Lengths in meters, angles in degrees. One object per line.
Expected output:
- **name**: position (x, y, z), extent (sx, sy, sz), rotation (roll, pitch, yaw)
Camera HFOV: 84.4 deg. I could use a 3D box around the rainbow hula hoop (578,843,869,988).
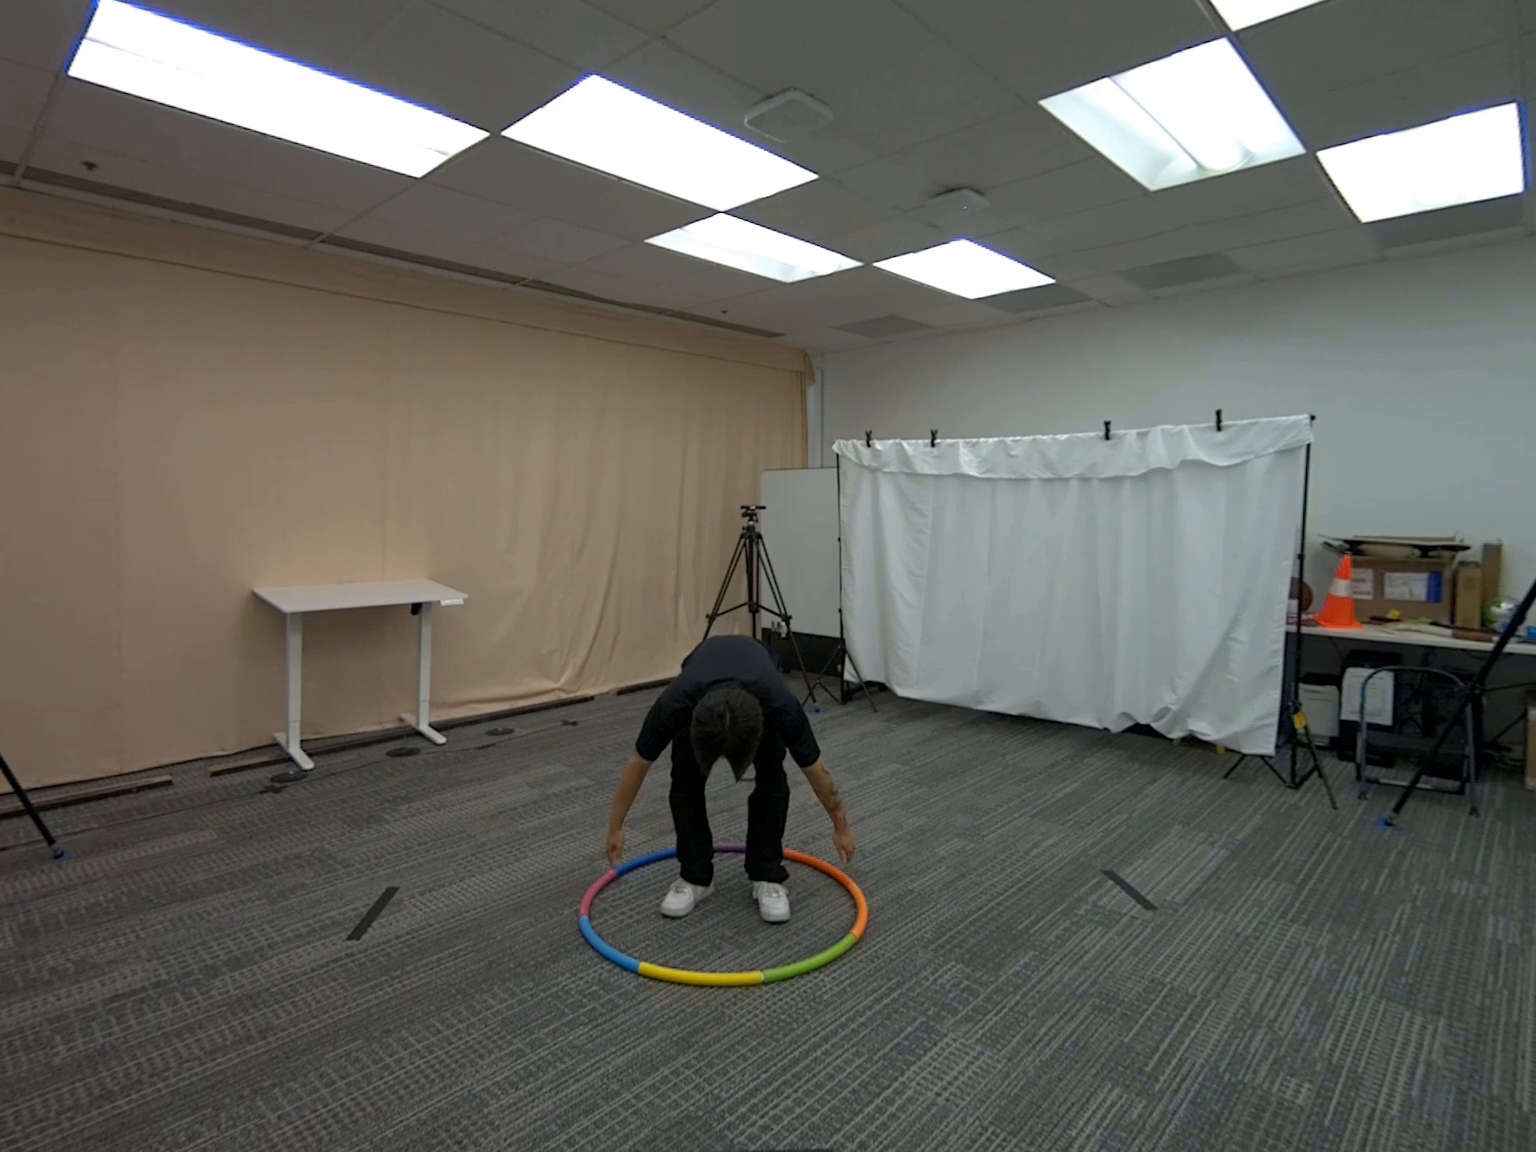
- **rainbow hula hoop**: position (-0.149, 1.120, 2.918), extent (0.978, 0.035, 0.982), rotation (0, 5, -2)
